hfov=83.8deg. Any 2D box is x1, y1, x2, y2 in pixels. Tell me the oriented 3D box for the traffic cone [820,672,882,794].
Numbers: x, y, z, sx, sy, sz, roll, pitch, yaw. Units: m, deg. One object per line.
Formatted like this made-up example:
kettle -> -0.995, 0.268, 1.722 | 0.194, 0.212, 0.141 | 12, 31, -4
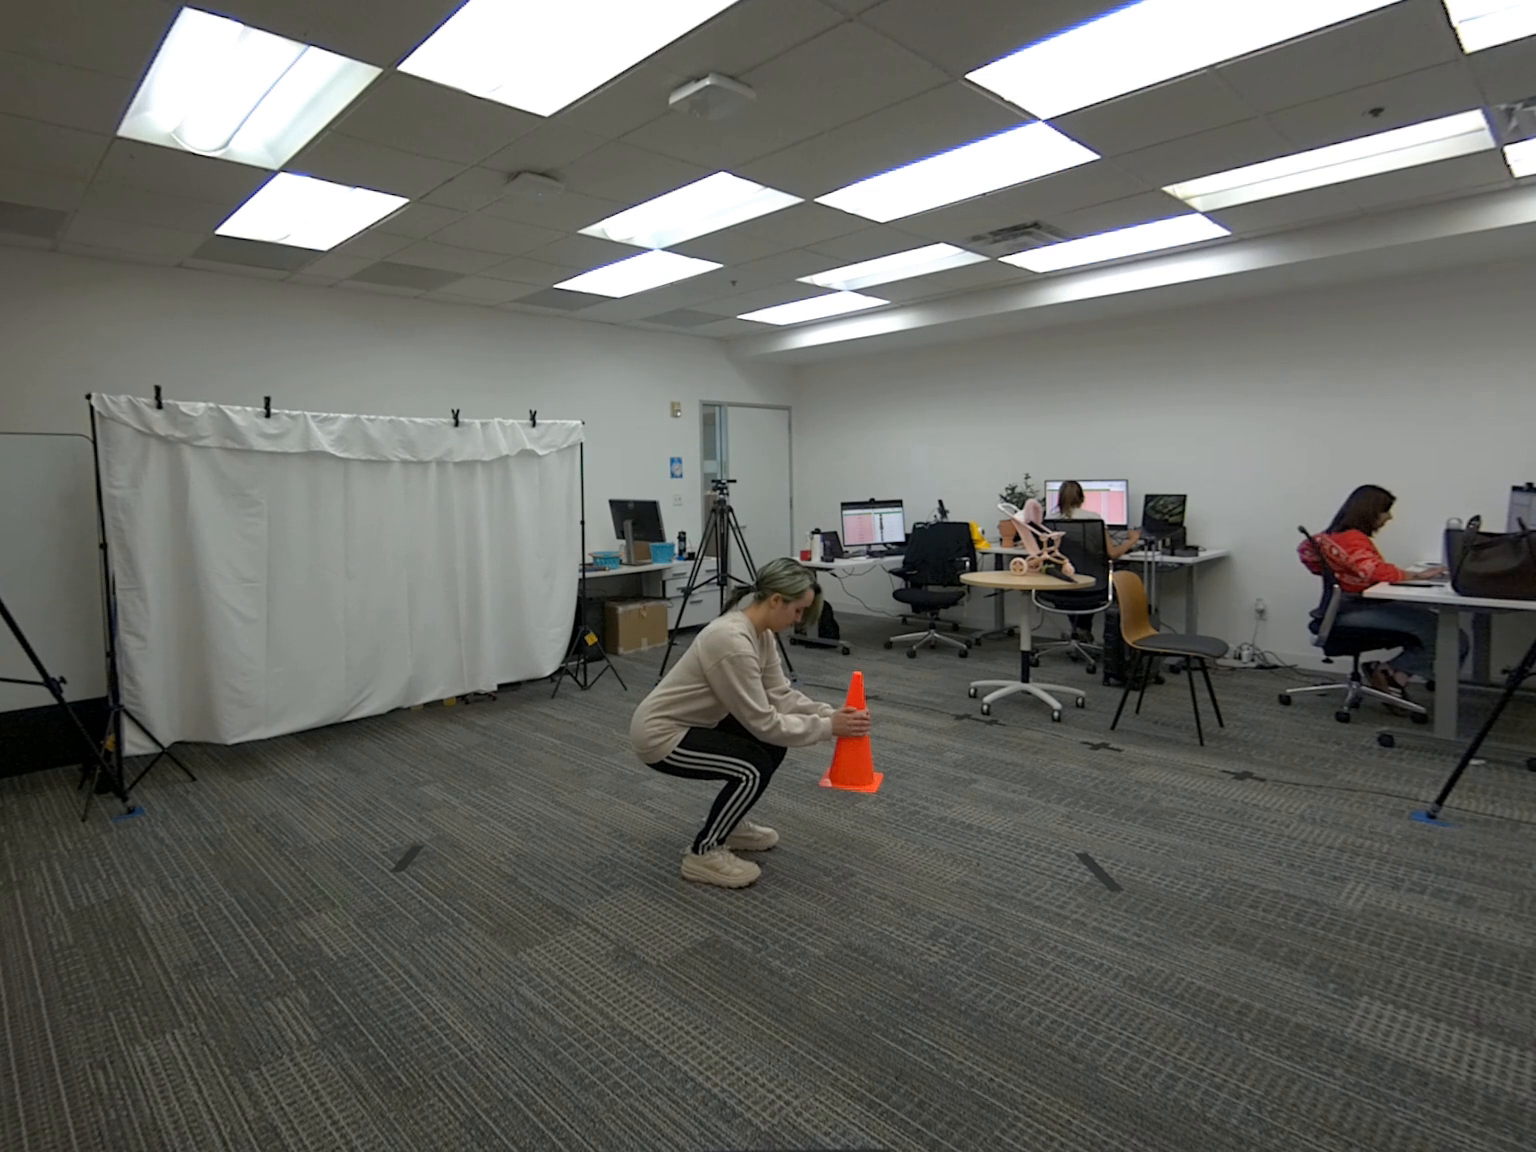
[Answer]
traffic cone -> 0.292, 0.518, 2.967 | 0.208, 0.382, 0.202 | 4, 6, 21
